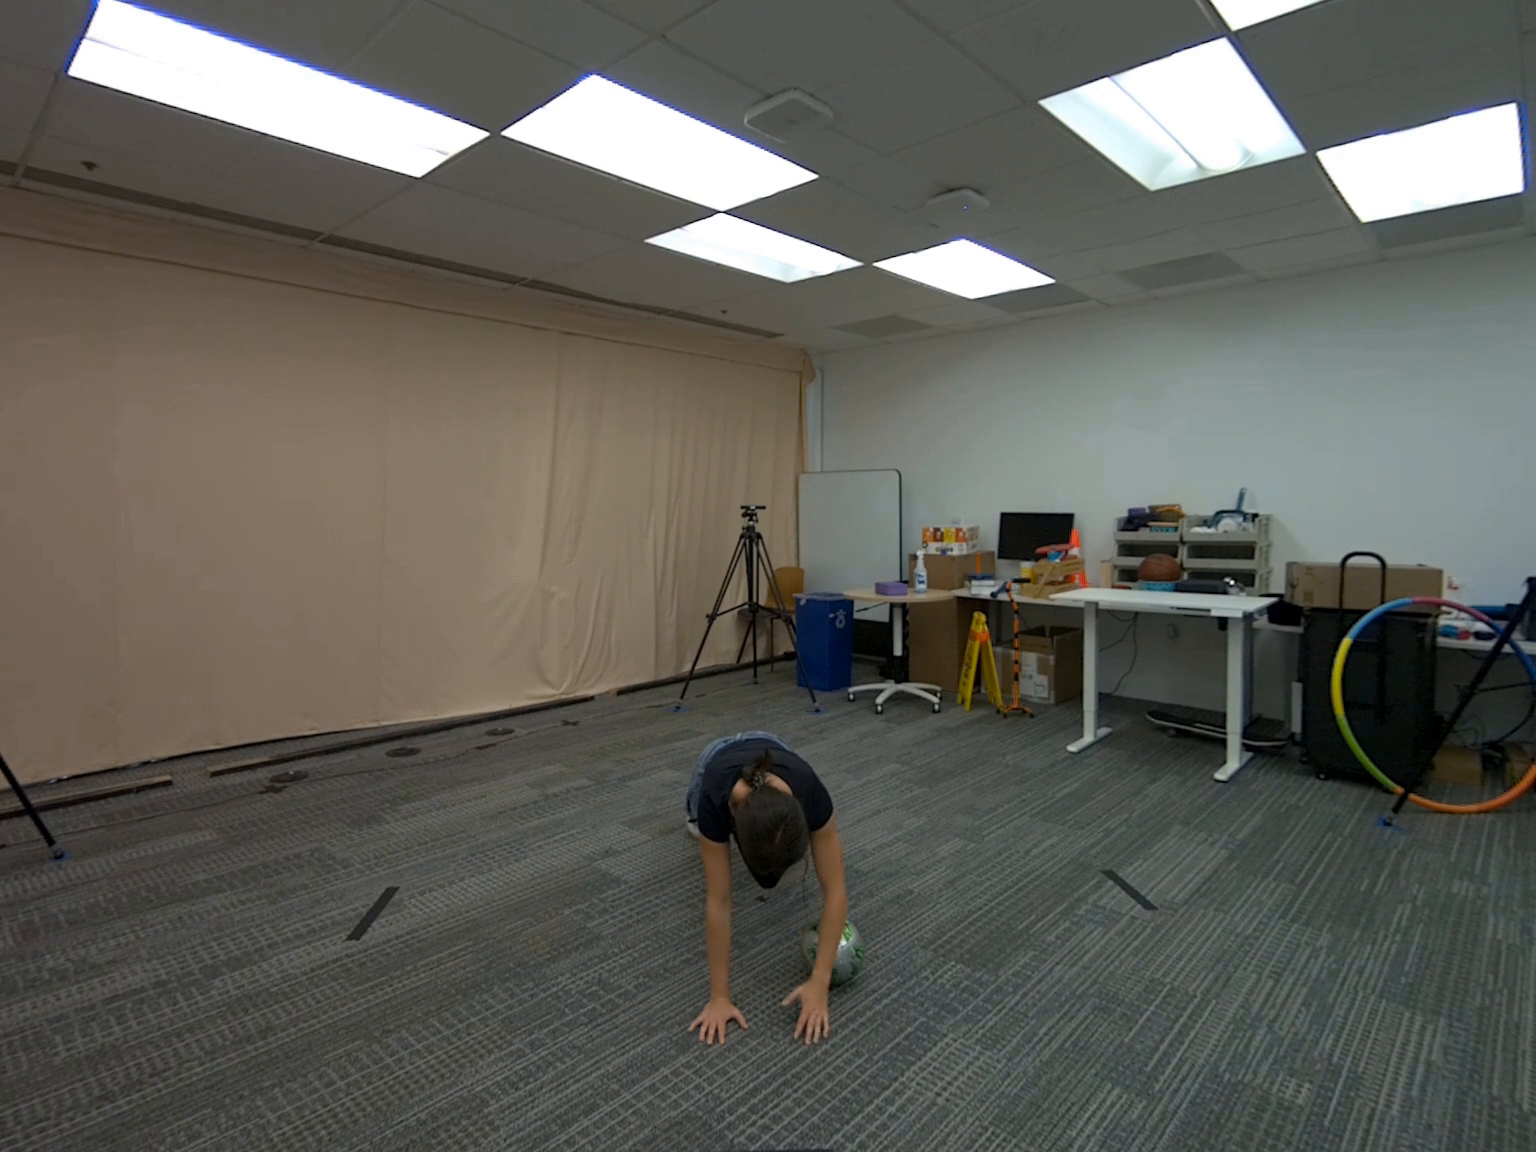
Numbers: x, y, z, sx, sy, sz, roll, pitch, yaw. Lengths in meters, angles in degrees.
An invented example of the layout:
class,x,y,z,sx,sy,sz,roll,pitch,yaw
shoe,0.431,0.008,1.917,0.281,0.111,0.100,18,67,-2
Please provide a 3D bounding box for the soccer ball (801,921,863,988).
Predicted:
class,x,y,z,sx,sy,sz,roll,pitch,yaw
soccer ball,0.200,1.094,2.465,0.187,0.187,0.188,0,4,-2
